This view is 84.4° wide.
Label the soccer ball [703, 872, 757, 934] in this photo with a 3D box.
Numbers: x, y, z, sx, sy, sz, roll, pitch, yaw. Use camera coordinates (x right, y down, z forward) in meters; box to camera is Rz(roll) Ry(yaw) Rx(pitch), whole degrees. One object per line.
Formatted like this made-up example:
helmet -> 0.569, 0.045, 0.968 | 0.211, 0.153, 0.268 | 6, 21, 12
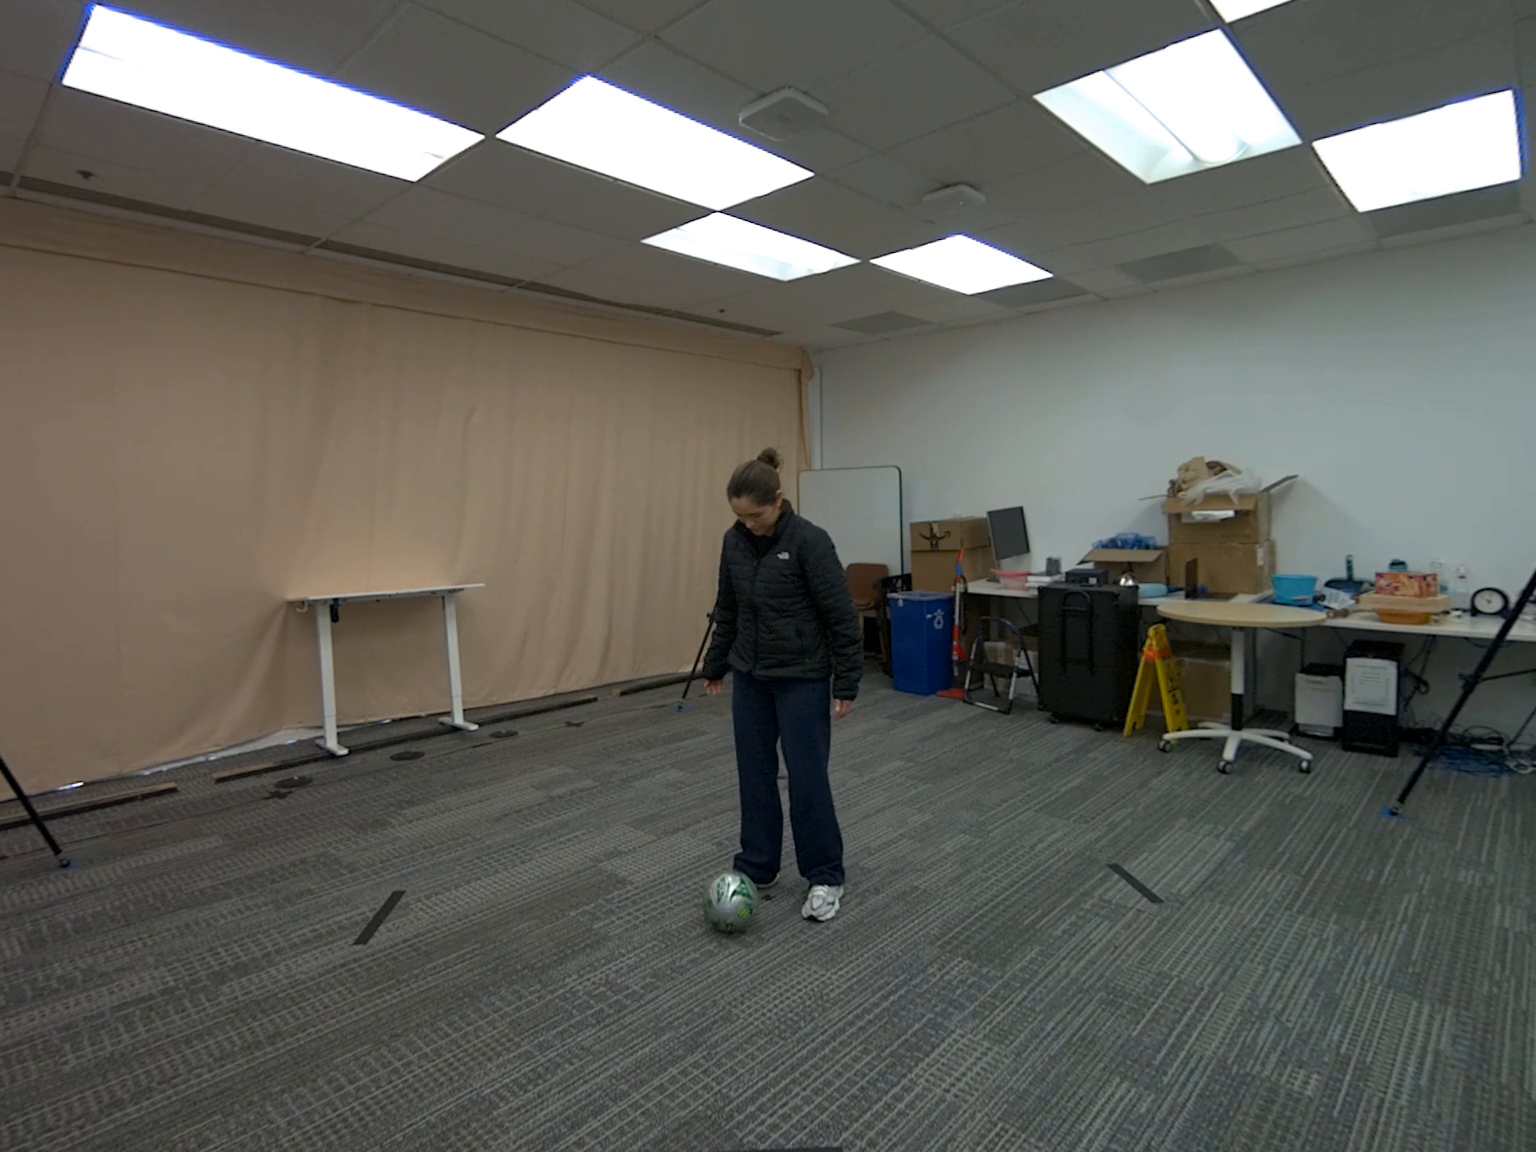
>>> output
soccer ball -> -0.124, 1.062, 2.758 | 0.187, 0.187, 0.188 | -1, 4, -2
